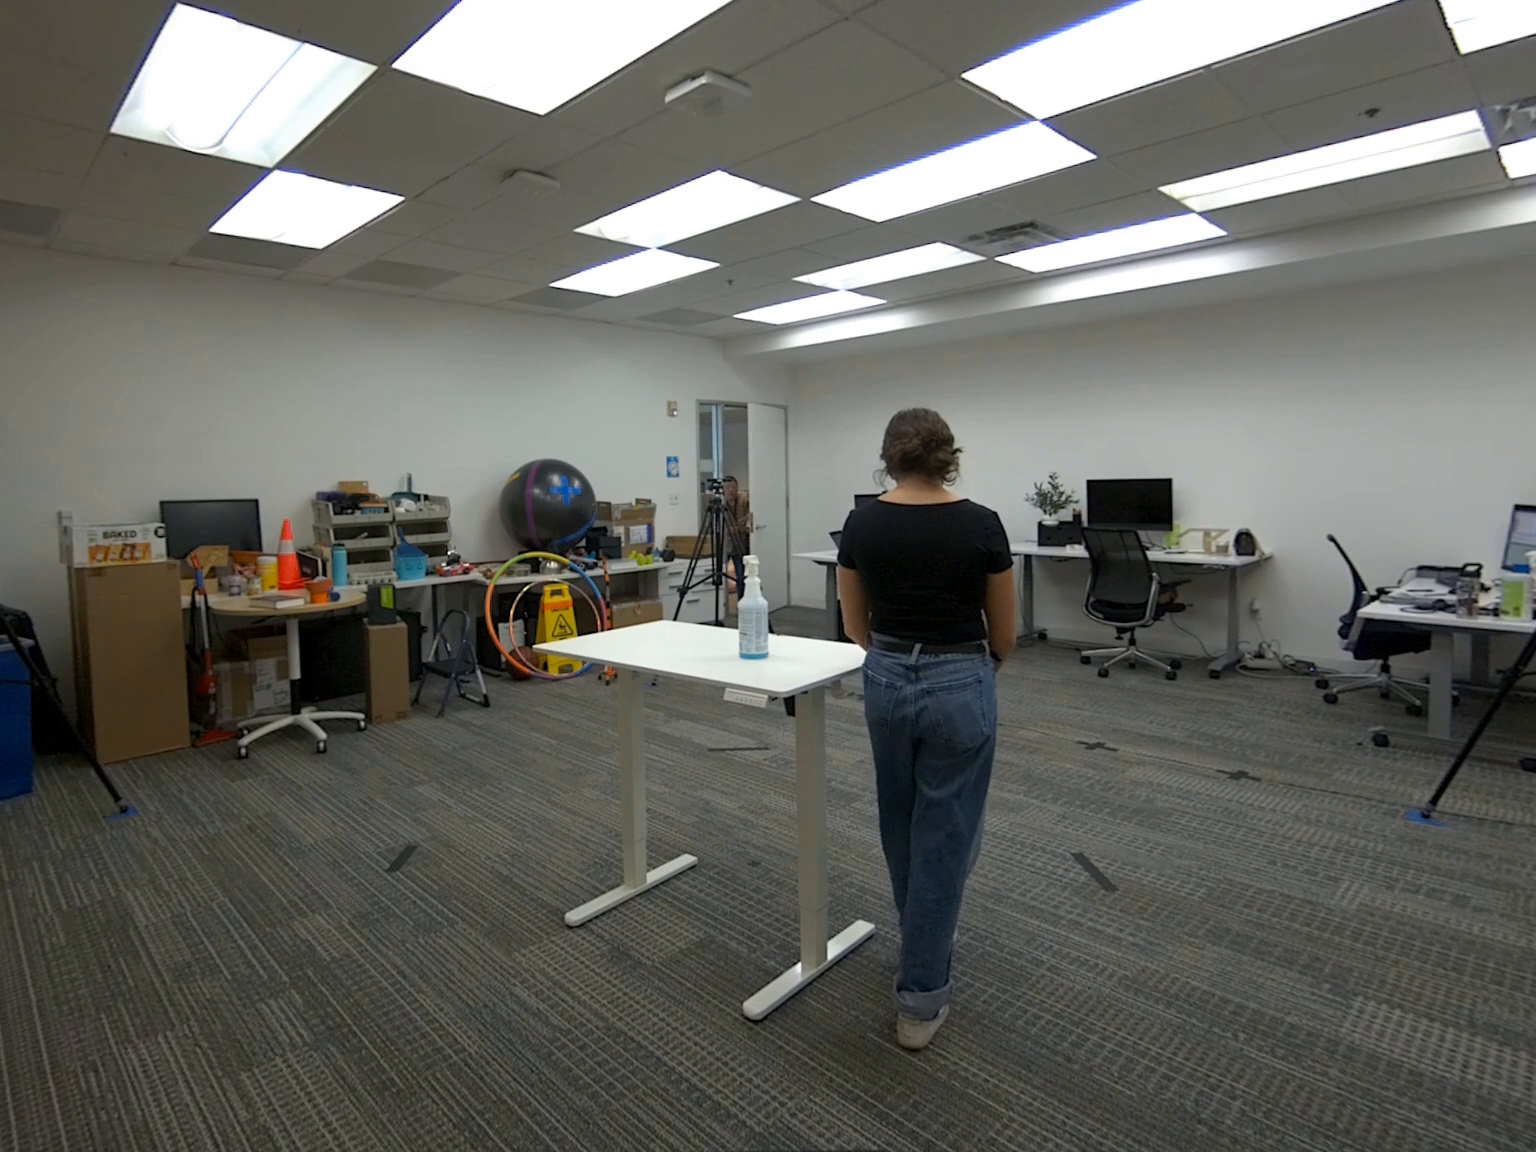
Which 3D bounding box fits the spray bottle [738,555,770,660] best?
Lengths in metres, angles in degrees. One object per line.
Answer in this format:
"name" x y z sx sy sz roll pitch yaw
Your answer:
"spray bottle" -0.041 0.092 2.464 0.088 0.296 0.089 -5 4 -41
